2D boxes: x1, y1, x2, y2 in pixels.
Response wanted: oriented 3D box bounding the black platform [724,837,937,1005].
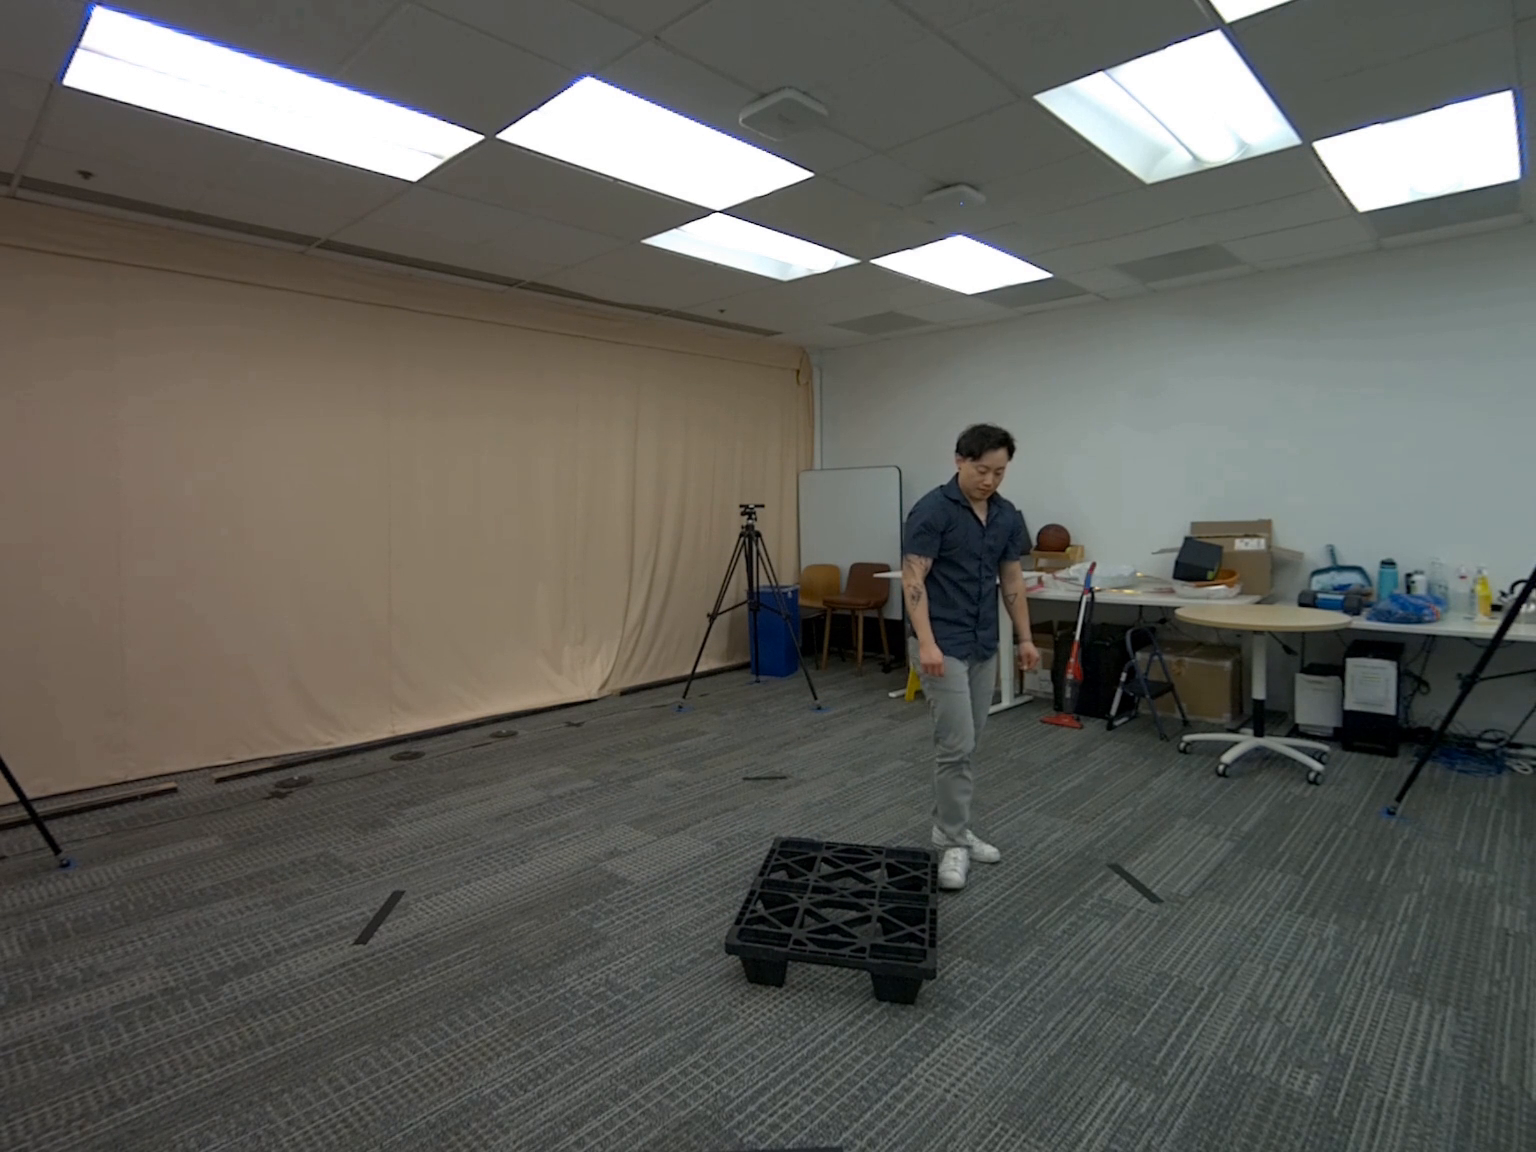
[{"bbox_3d":[0.250,1.088,2.738,0.614,0.143,0.796,1,5,13],"label":"black platform"}]
